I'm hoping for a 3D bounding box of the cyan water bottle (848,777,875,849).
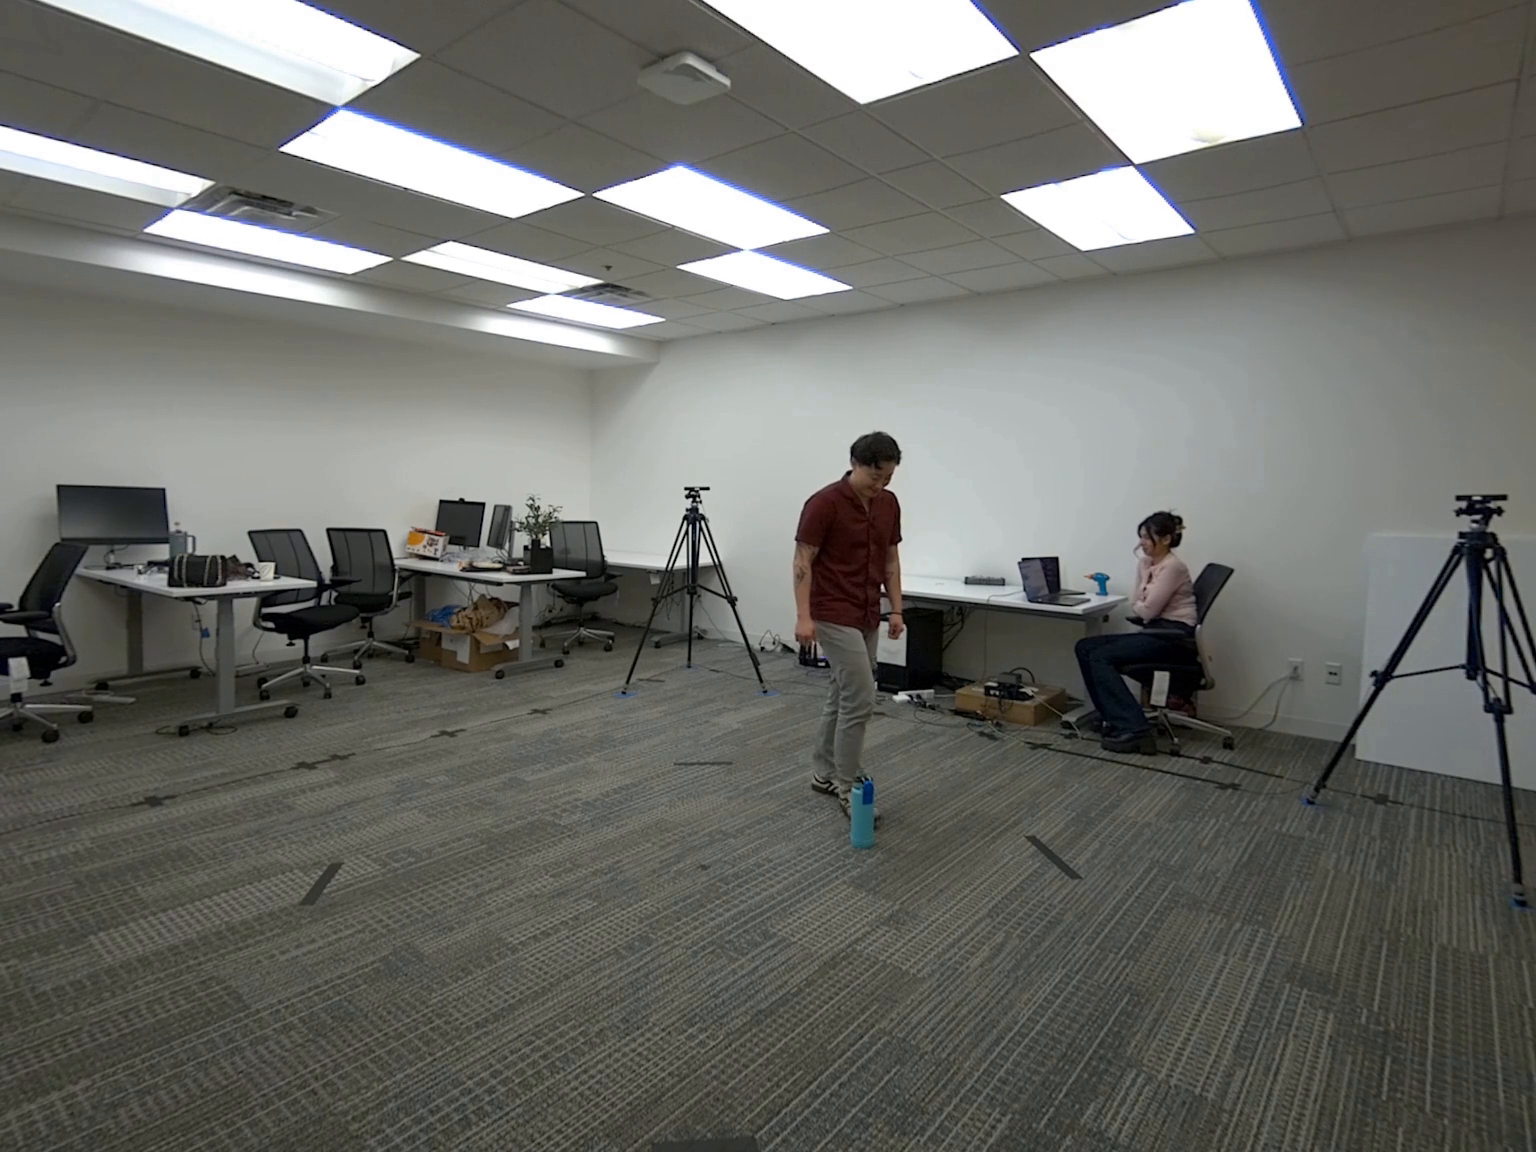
[{"bbox_3d":[0.369,0.917,3.347,0.092,0.282,0.093,2,3,-2],"label":"cyan water bottle"}]
